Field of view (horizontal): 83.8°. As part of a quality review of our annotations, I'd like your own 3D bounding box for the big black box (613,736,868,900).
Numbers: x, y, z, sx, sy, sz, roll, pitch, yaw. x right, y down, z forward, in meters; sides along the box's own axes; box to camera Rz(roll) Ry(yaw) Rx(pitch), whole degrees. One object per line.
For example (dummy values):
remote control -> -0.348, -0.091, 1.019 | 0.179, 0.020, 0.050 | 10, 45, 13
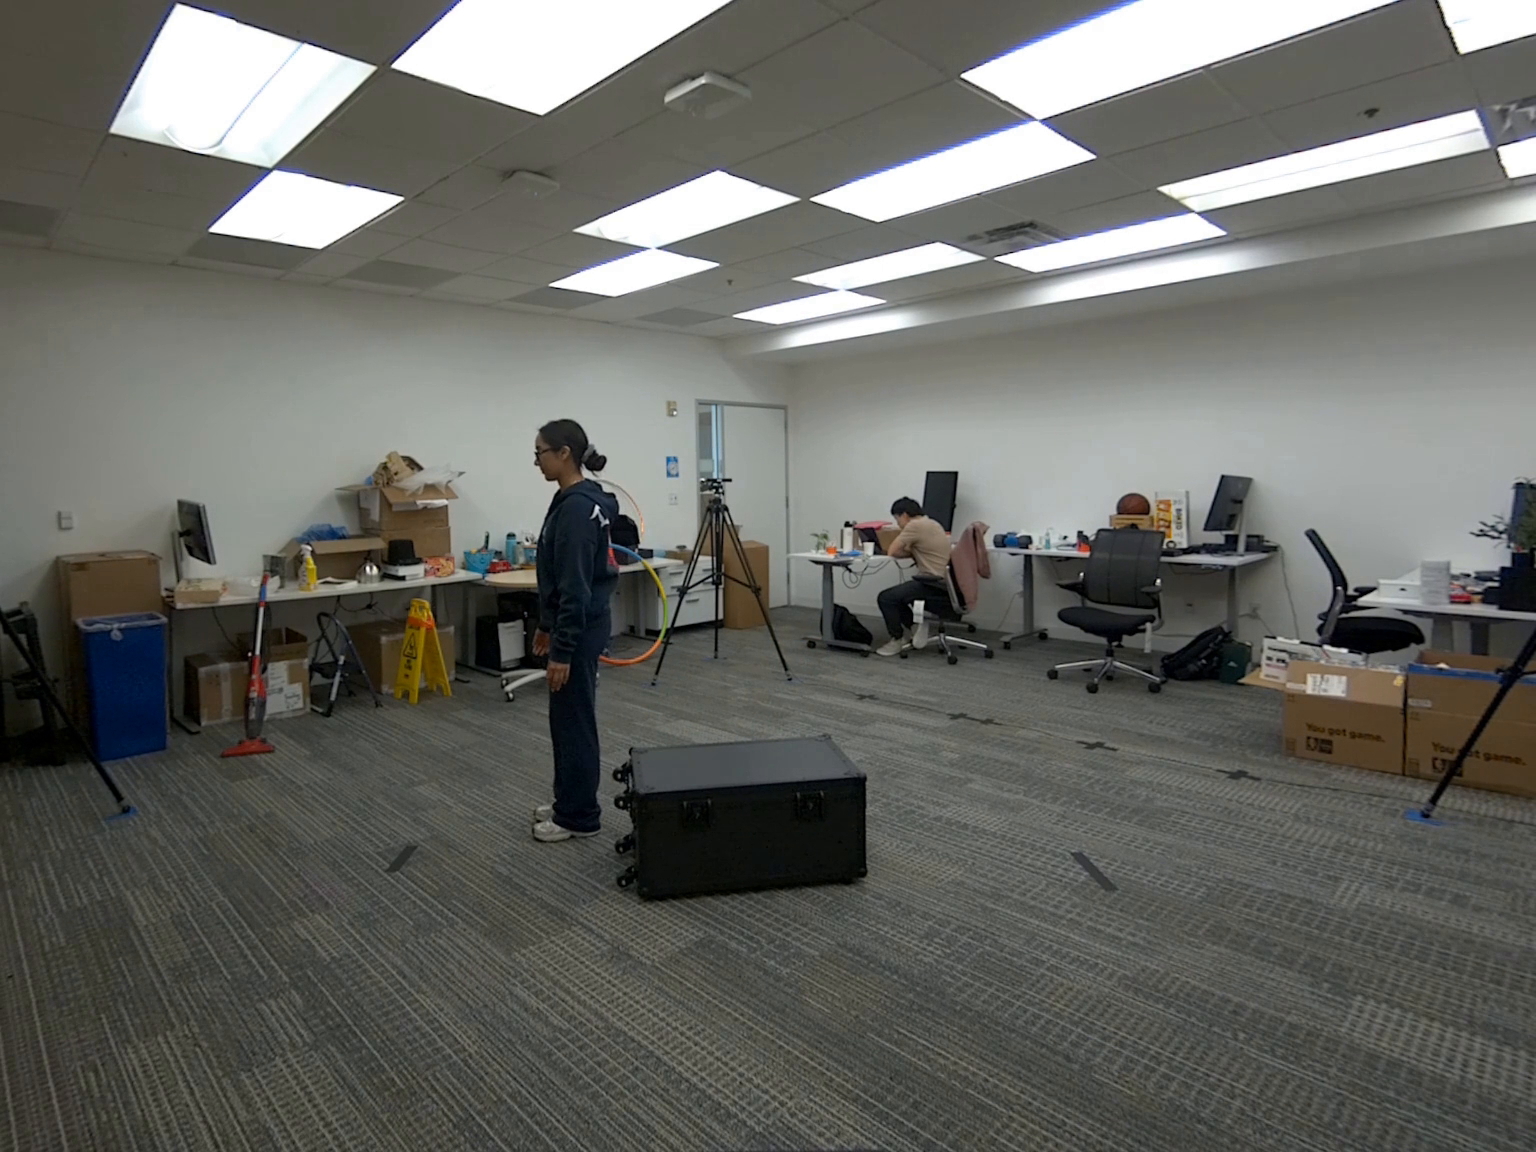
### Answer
big black box -> -0.126, 0.855, 3.090 | 0.854, 0.395, 0.528 | -2, 5, -9
